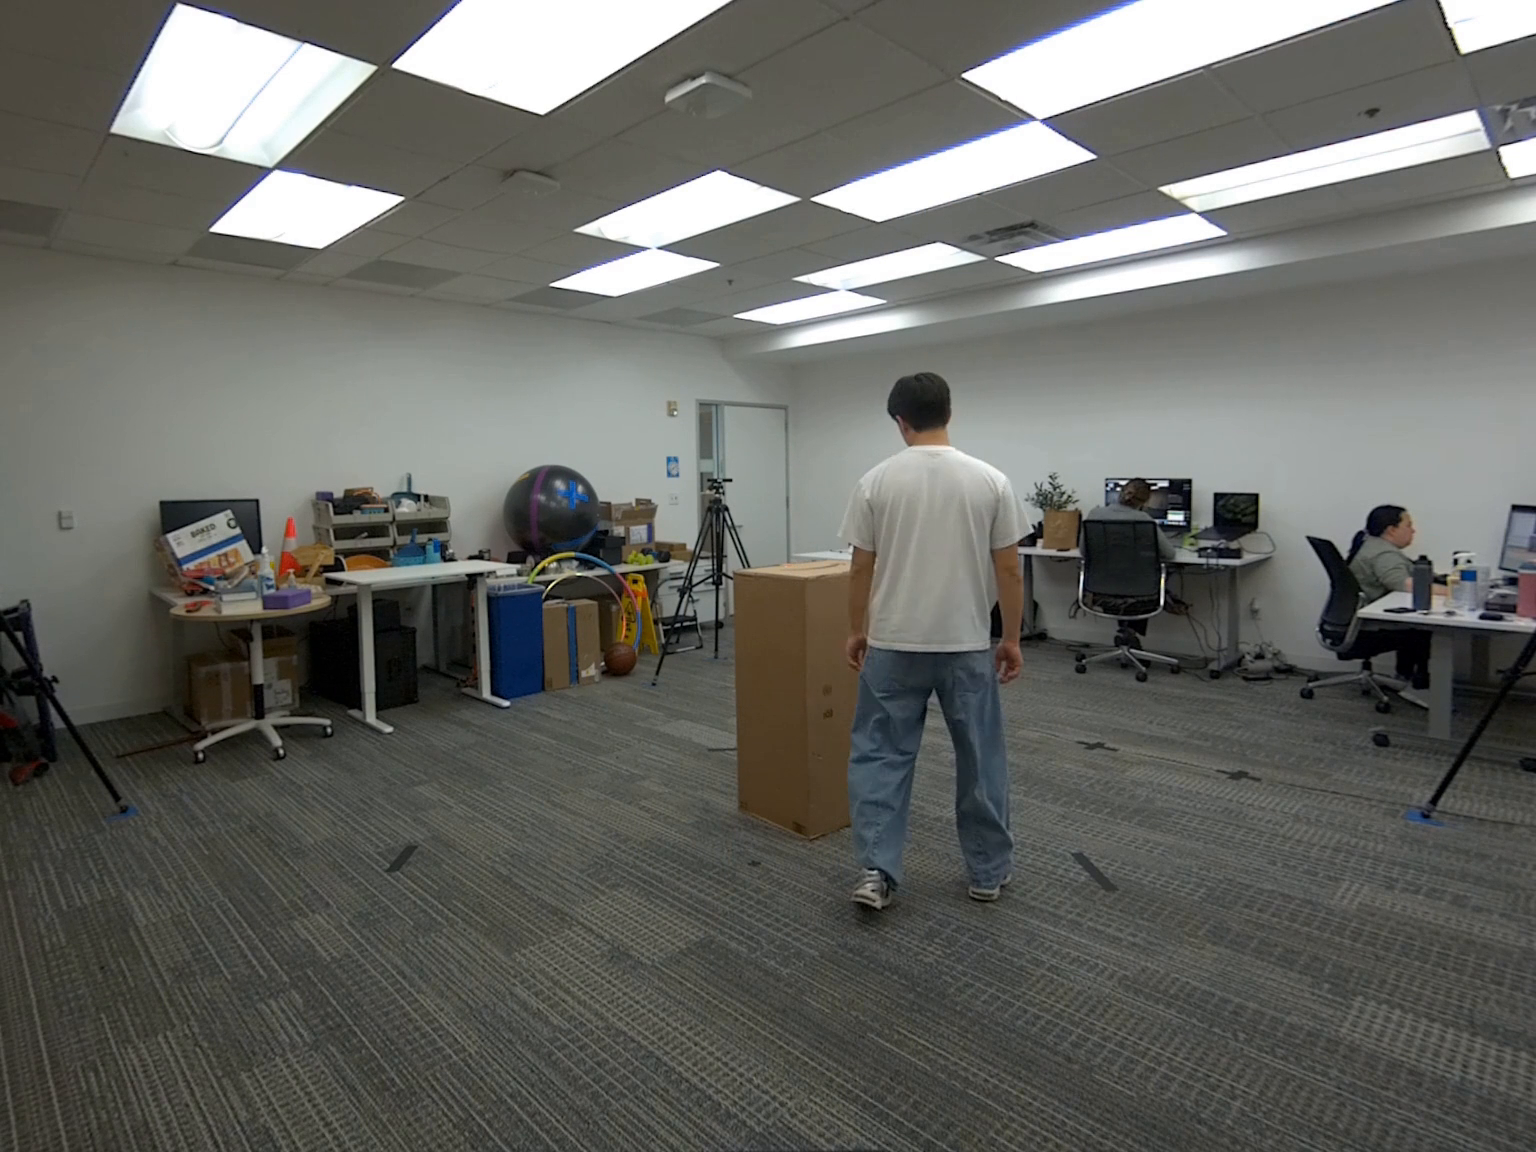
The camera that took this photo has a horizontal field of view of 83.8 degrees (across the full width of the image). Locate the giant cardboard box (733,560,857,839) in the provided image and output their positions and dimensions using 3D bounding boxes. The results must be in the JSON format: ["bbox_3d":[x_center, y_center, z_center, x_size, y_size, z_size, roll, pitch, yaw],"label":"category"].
[{"bbox_3d":[0.208,0.475,3.599,0.562,1.022,0.439,-5,6,-41],"label":"giant cardboard box"}]
